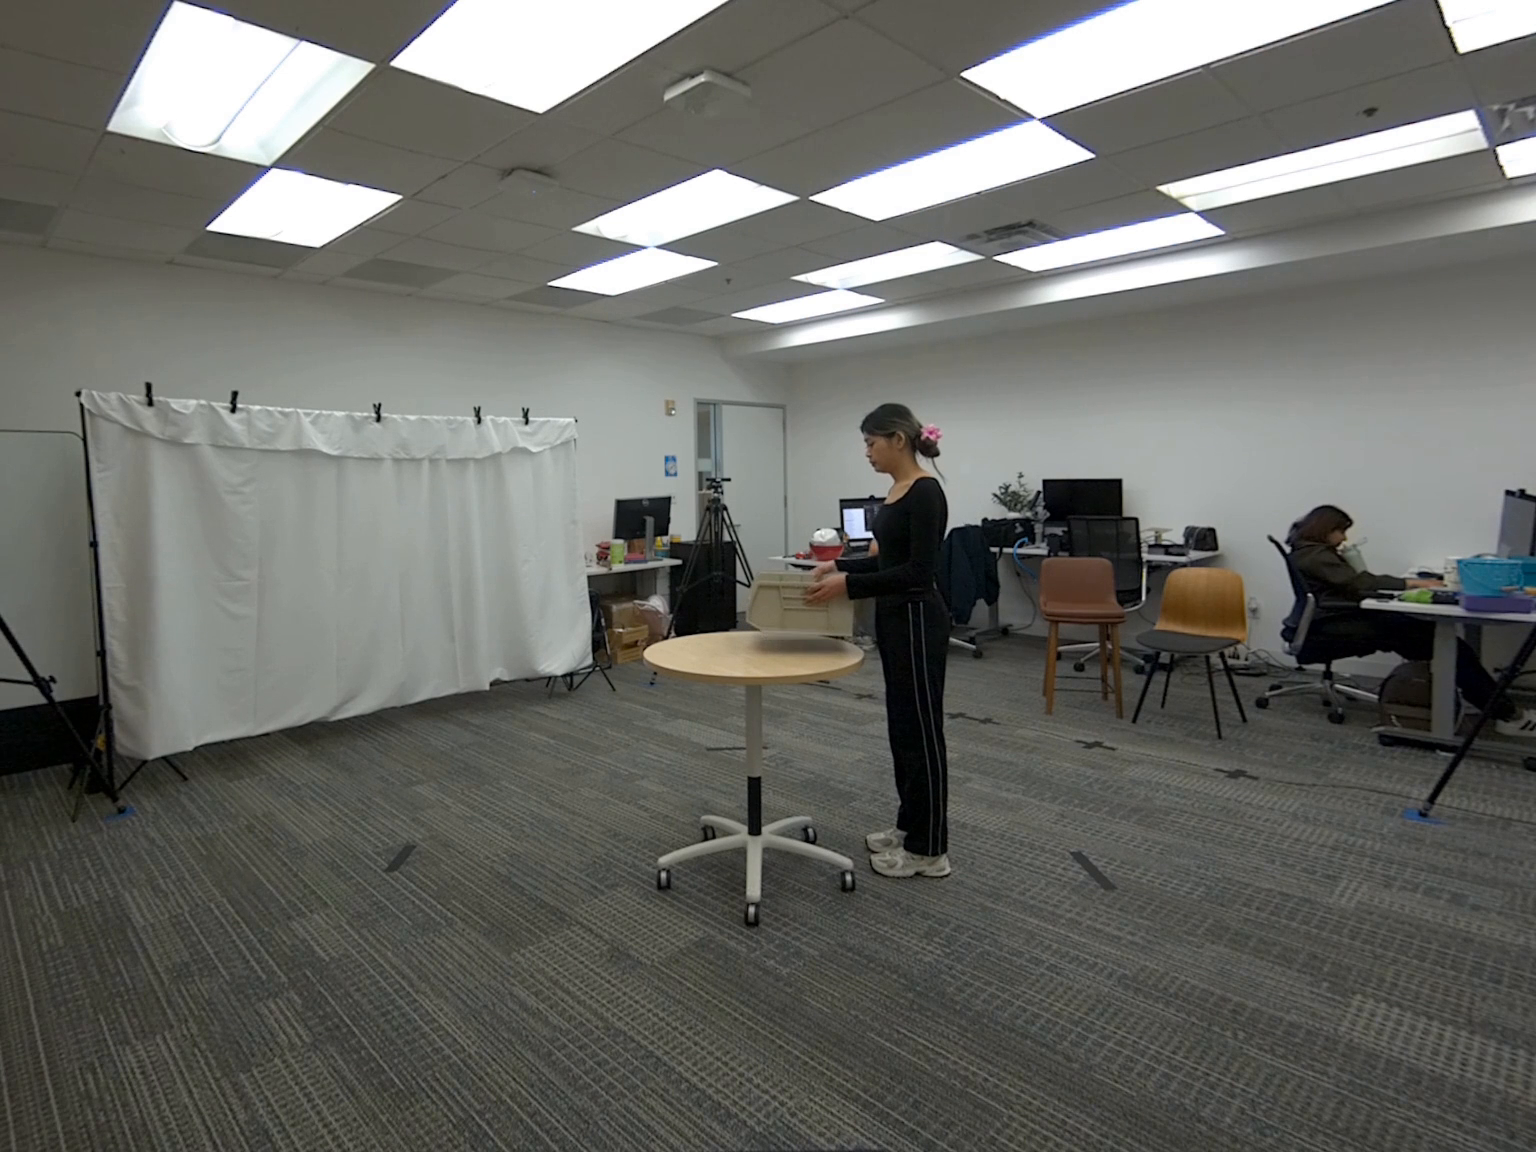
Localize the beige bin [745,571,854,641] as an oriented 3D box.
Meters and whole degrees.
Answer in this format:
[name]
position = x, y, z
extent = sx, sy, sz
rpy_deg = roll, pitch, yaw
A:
[beige bin]
position = 0.109, 0.094, 3.118
extent = 0.377, 0.188, 0.423
rpy_deg = 2, 4, 0
